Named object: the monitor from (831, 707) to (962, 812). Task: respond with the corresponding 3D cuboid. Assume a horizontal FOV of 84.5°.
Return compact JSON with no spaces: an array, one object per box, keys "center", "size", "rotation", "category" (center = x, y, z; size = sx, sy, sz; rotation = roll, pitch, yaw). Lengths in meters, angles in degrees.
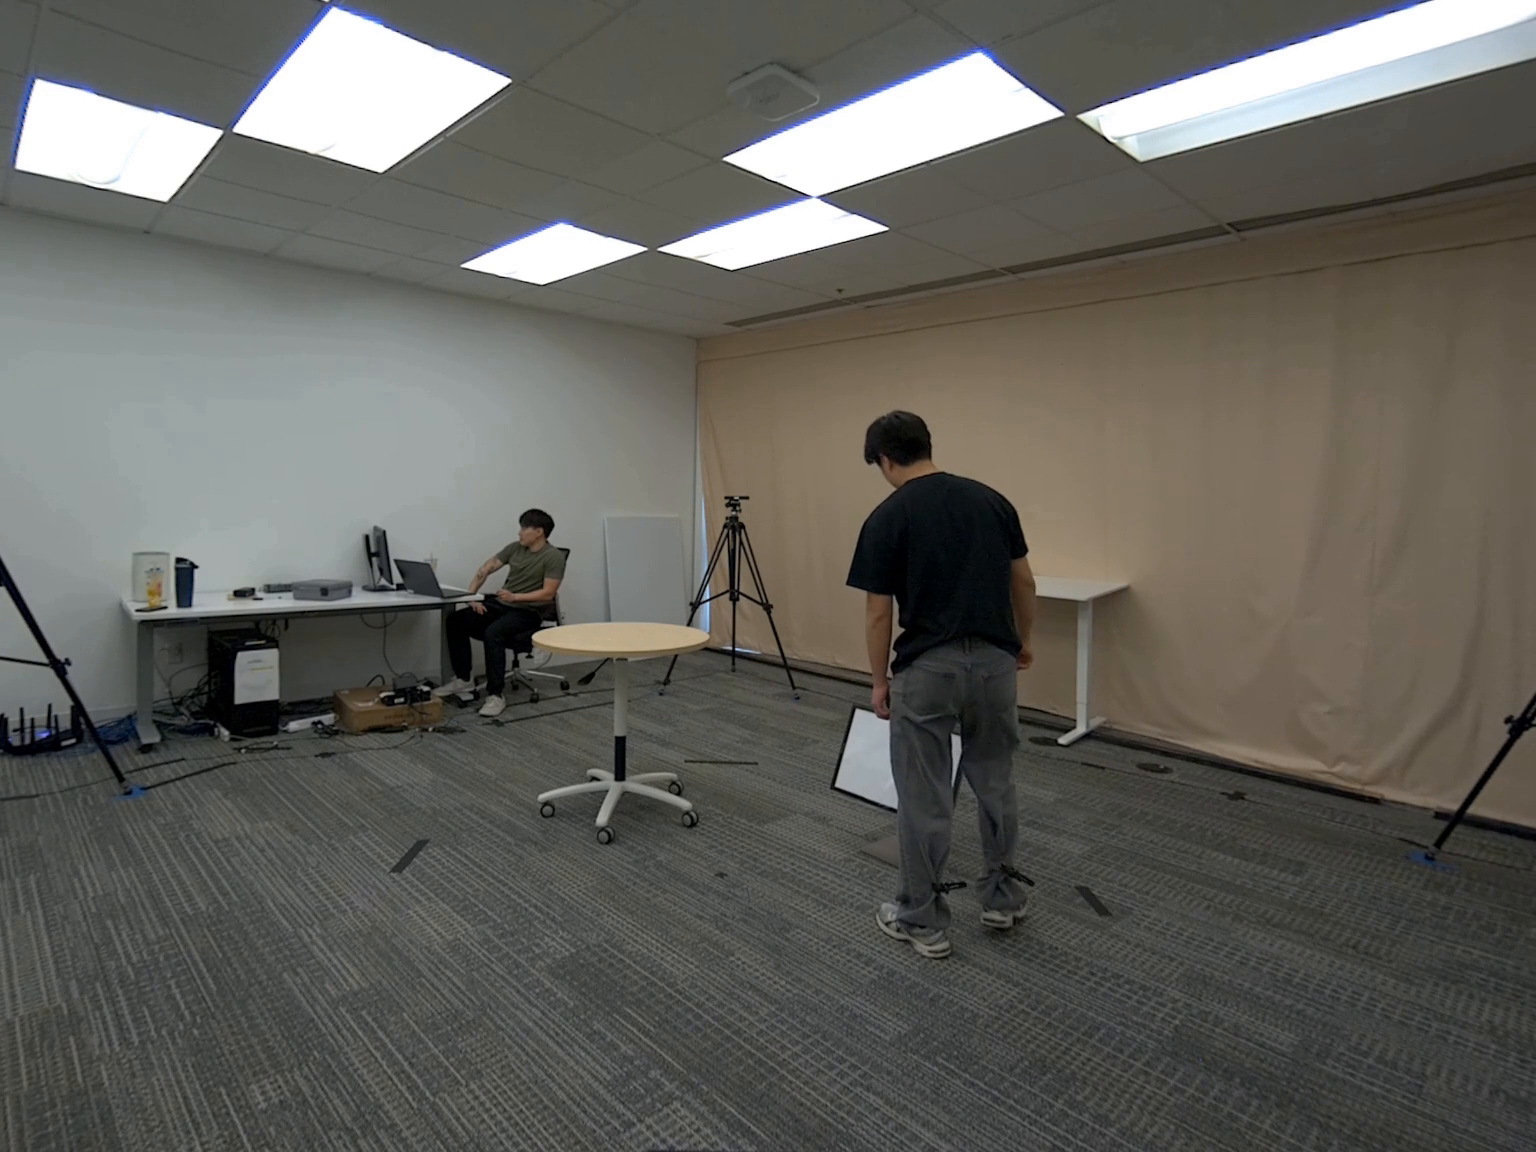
[{"center":[0.525,0.840,3.306],"size":[0.217,0.565,0.576],"rotation":[1,4,-41],"category":"monitor"}]
